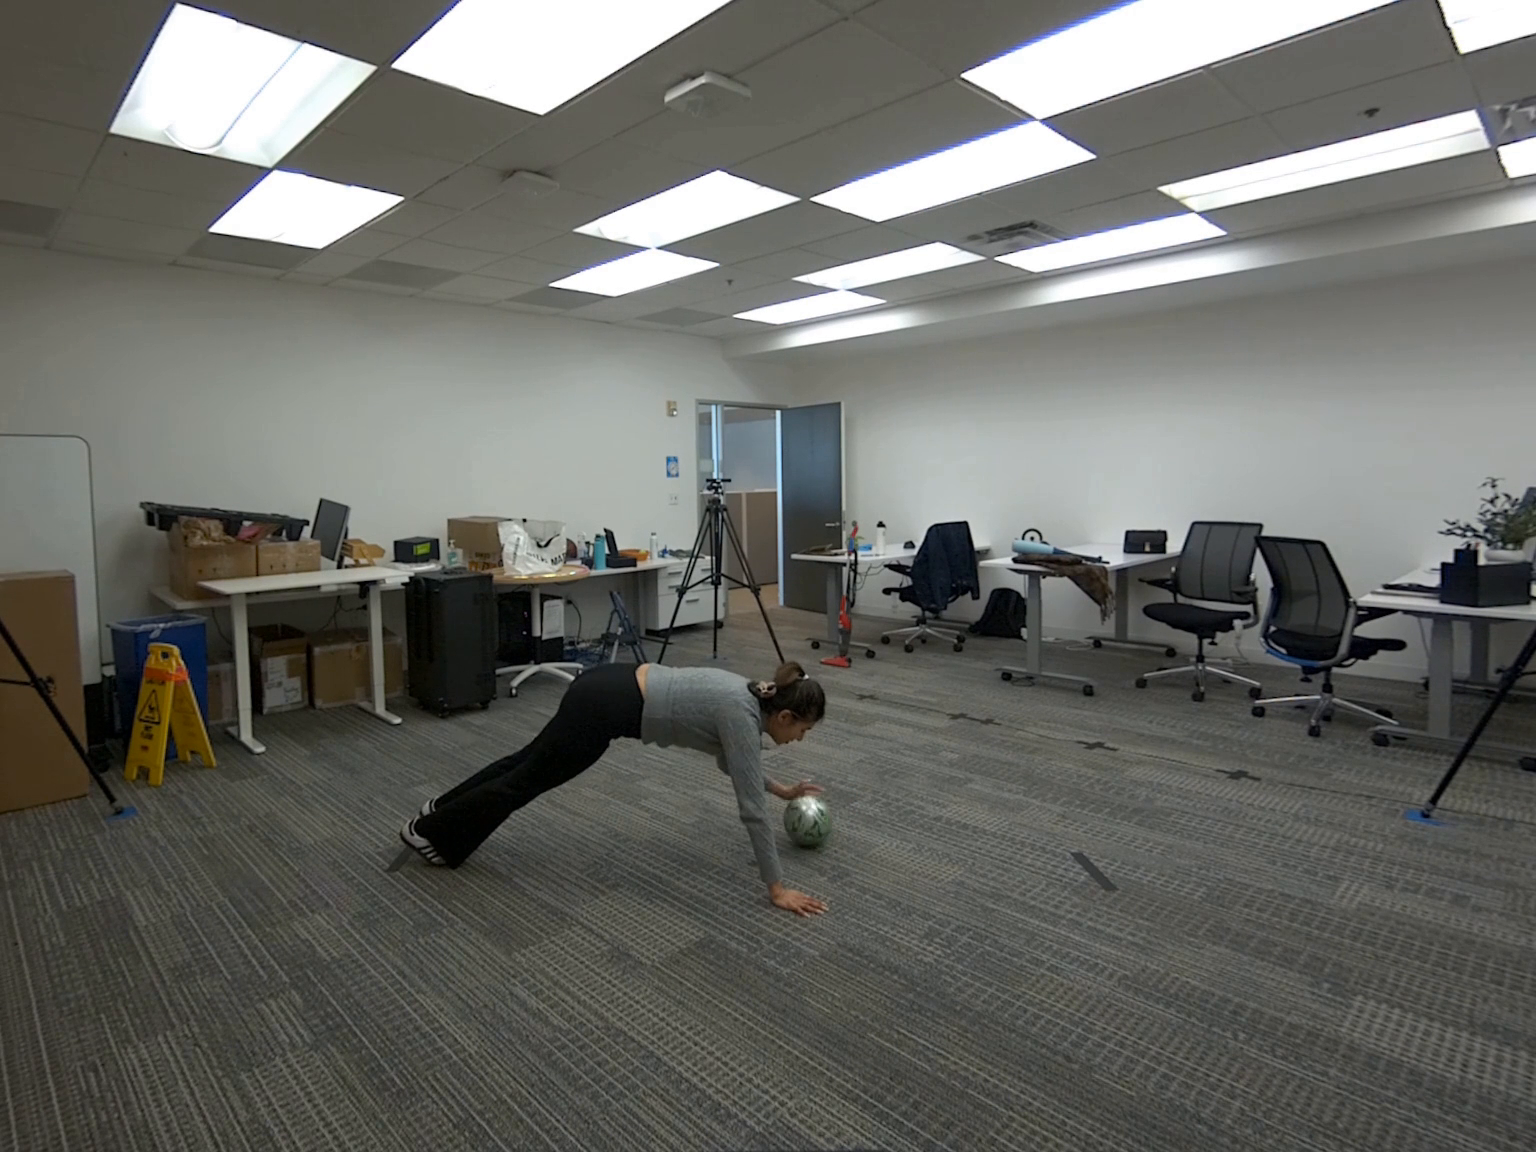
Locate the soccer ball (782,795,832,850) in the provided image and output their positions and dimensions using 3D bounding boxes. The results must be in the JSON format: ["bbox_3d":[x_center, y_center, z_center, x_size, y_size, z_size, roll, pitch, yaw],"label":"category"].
[{"bbox_3d":[0.150,0.926,3.241,0.187,0.187,0.188,-1,5,-2],"label":"soccer ball"}]
